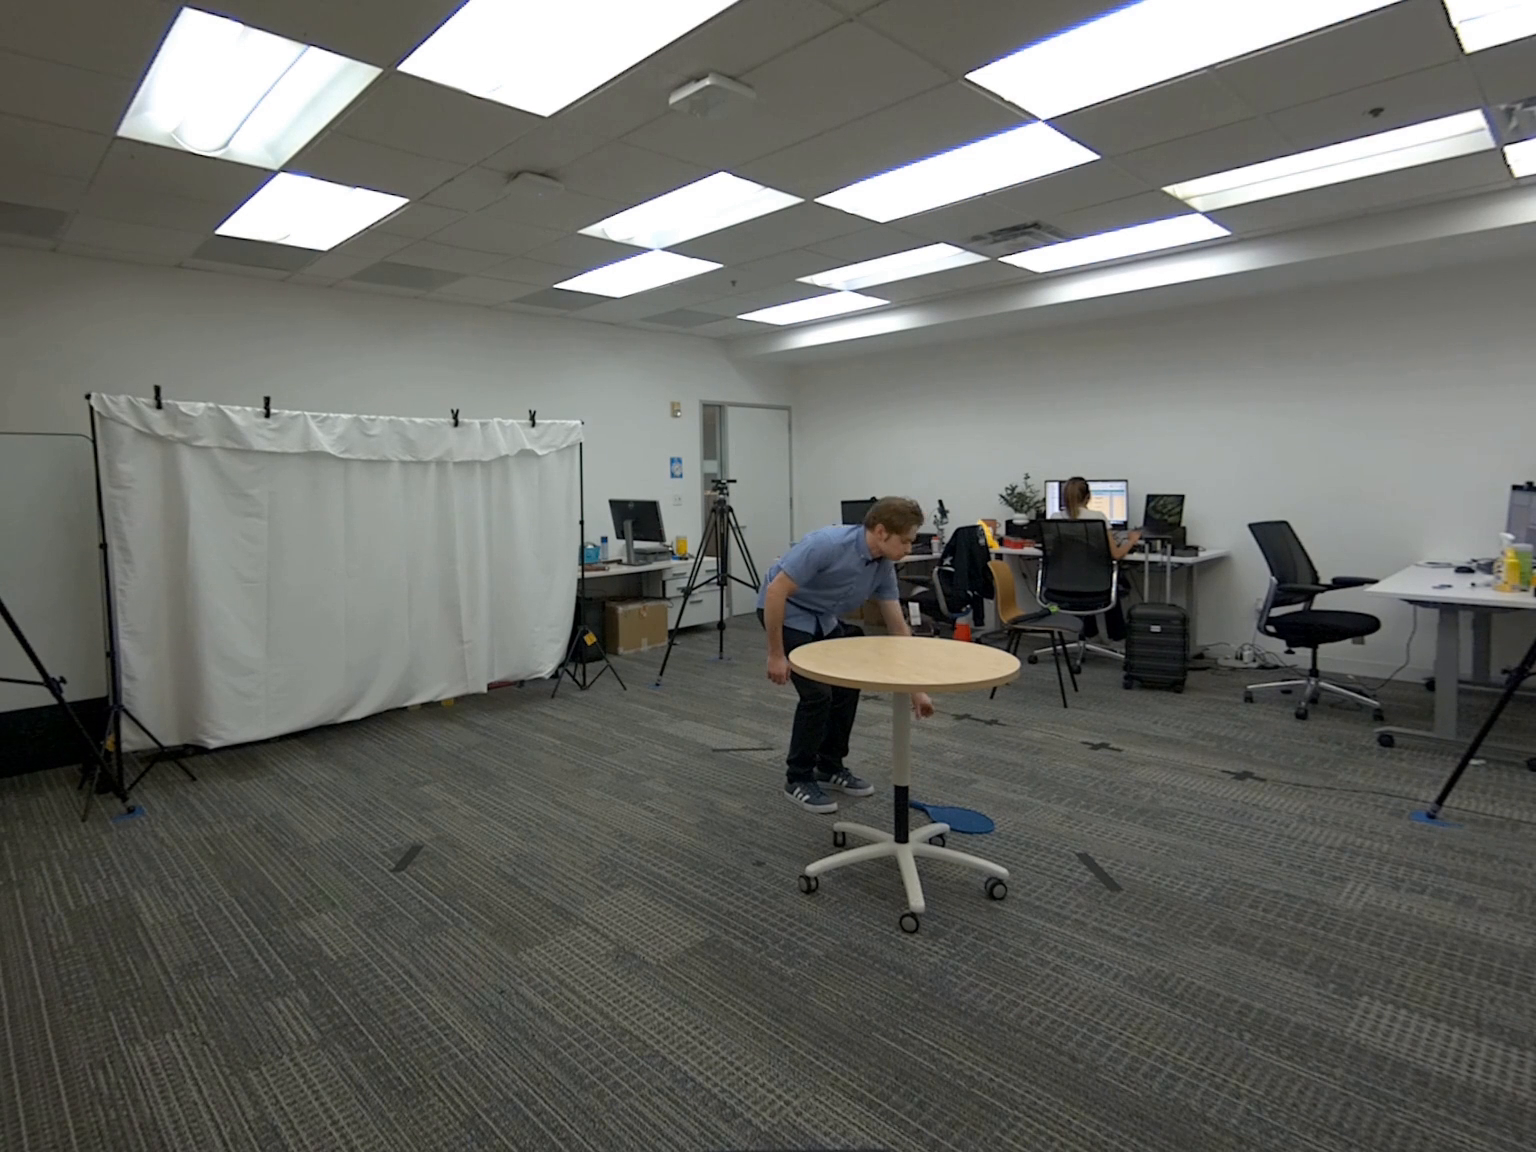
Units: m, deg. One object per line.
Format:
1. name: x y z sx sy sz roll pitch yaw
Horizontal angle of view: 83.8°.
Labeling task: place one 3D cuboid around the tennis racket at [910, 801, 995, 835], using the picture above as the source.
1. tennis racket: 0.727 0.979 3.518 0.447 0.031 0.208 6 10 44
